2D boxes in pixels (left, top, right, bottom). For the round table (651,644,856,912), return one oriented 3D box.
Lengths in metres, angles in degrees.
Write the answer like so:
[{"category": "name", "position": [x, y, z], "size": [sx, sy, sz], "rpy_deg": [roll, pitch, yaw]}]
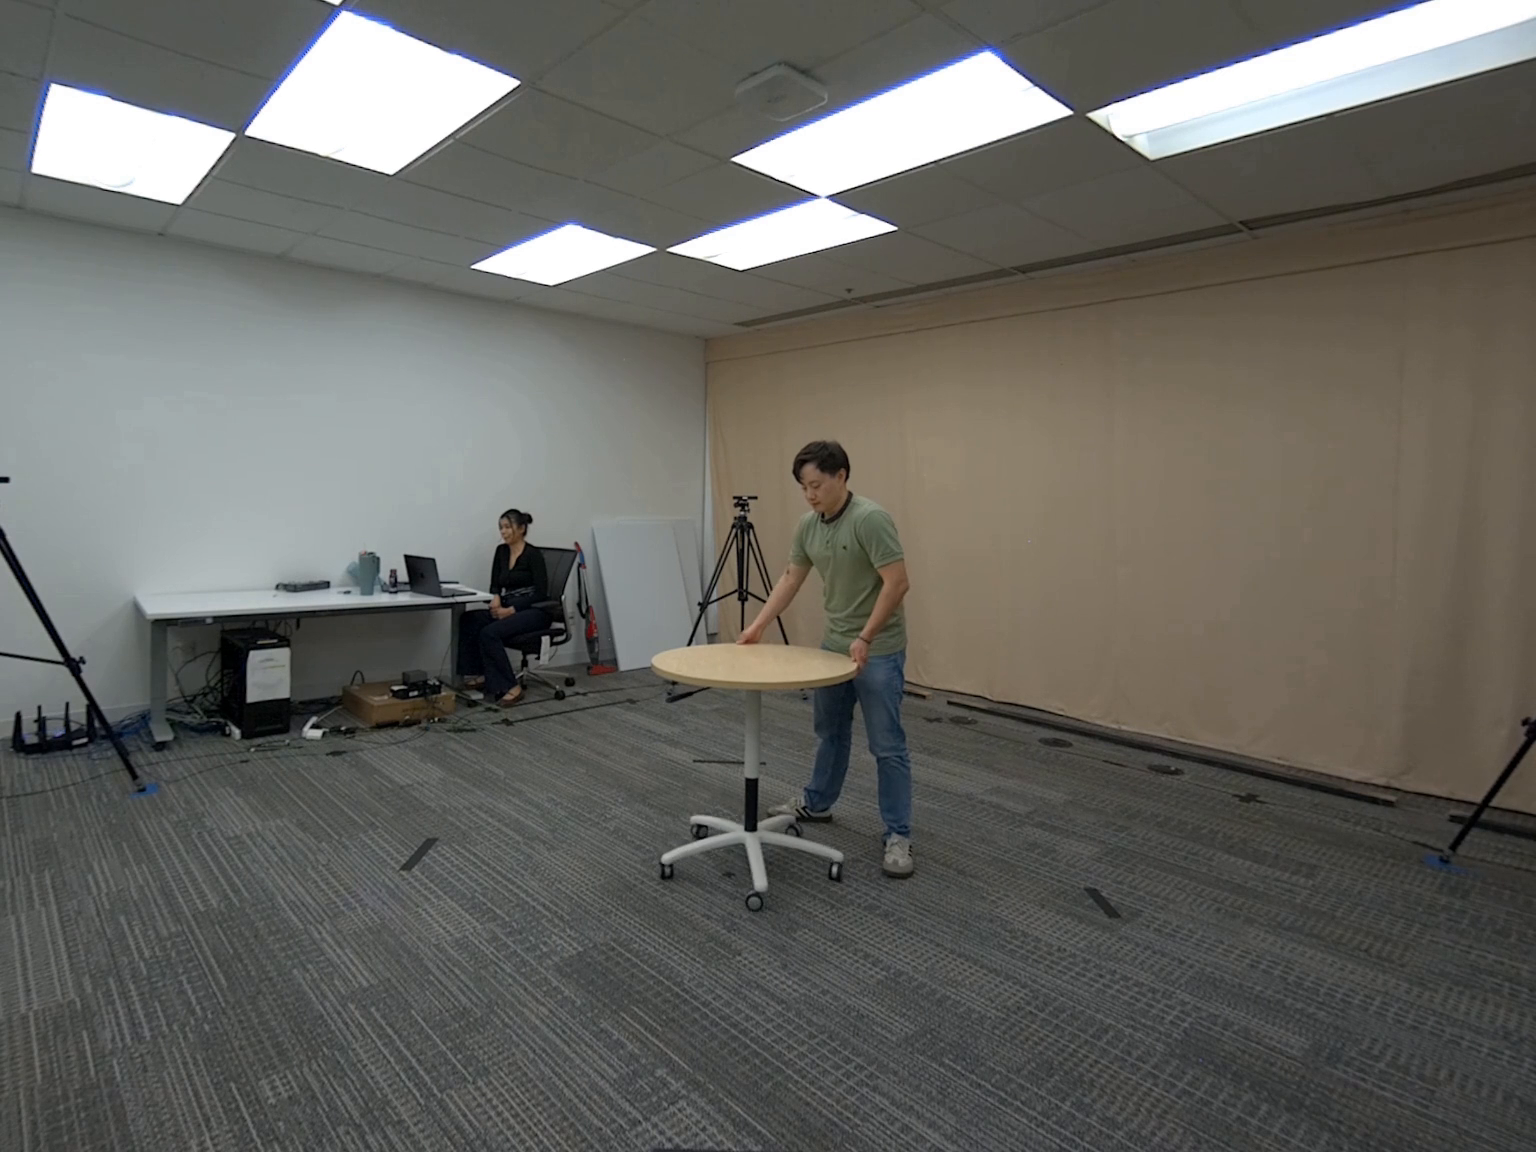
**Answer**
[{"category": "round table", "position": [-0.071, 0.710, 3.159], "size": [0.763, 0.792, 0.766], "rpy_deg": [1, 3, -1]}]
